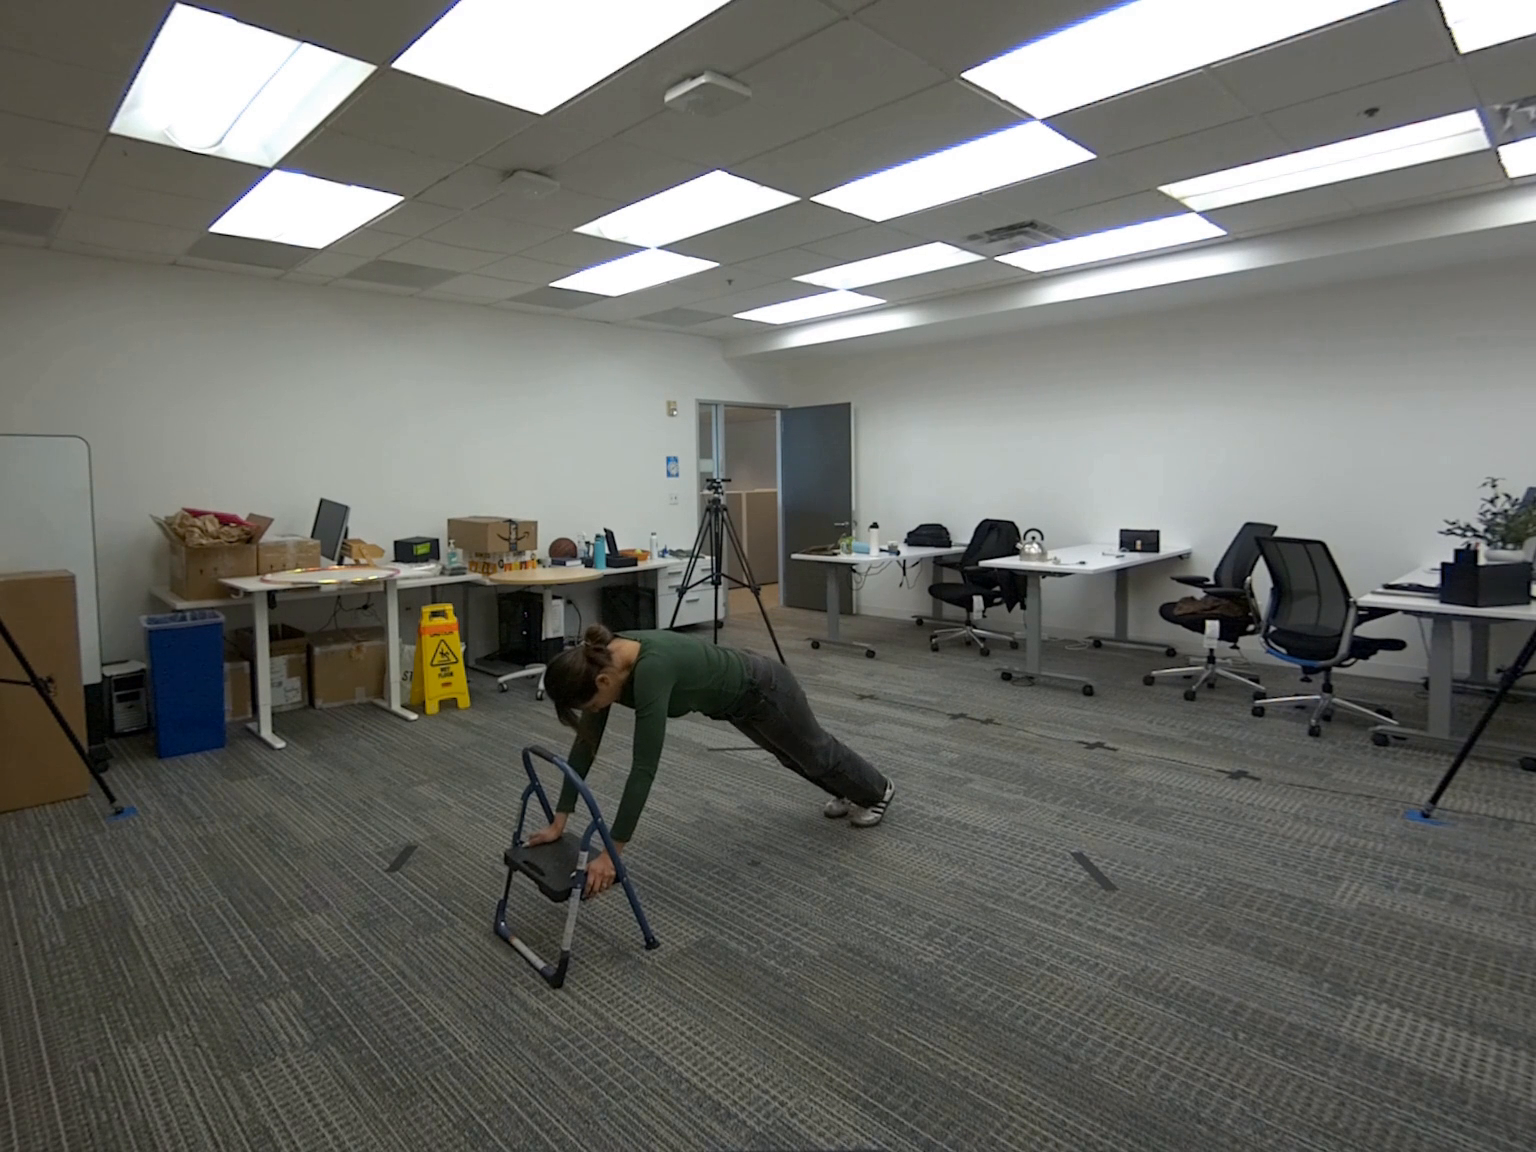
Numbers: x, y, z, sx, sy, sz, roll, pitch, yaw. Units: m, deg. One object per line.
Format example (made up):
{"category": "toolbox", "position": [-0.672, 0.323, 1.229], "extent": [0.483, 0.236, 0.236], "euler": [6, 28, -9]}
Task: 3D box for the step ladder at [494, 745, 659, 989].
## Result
{"category": "step ladder", "position": [-0.598, 0.814, 2.603], "extent": [0.340, 0.604, 0.444], "euler": [-5, 6, -41]}
